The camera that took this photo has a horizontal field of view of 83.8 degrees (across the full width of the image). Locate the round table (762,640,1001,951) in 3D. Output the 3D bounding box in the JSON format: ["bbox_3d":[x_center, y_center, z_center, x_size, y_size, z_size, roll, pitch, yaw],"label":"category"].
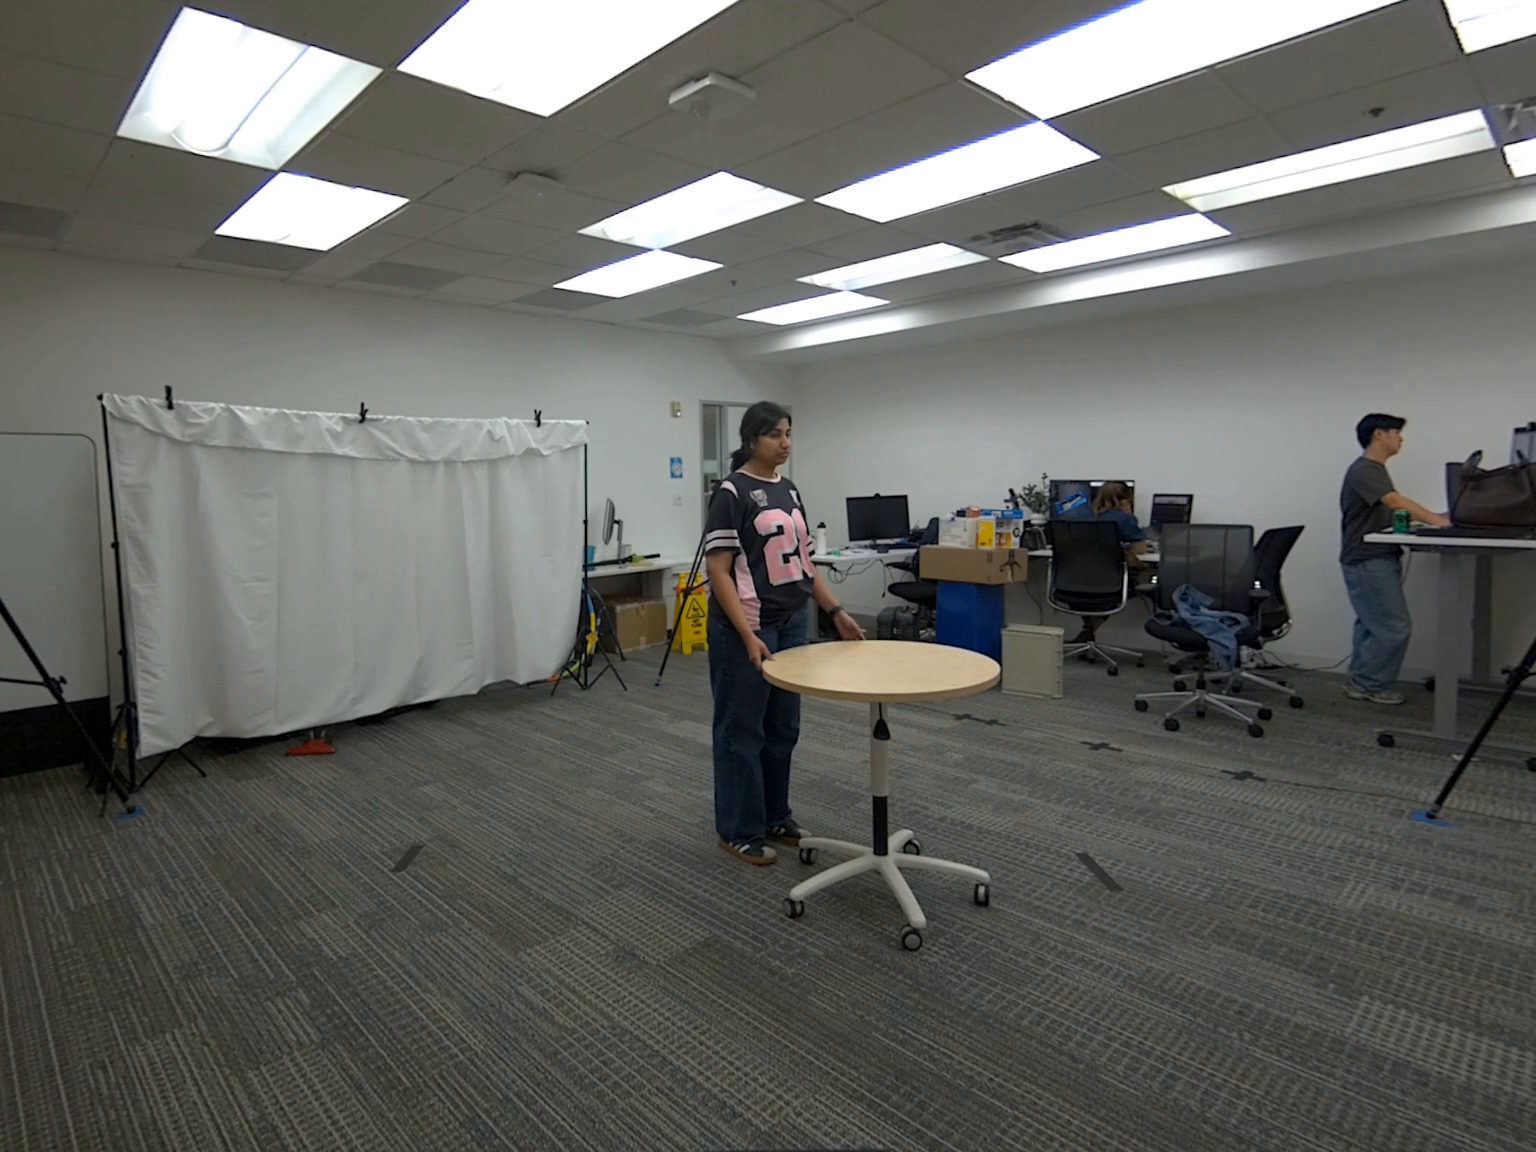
[{"bbox_3d":[0.369,0.673,2.852,0.784,0.783,0.790,-1,6,-2],"label":"round table"}]
